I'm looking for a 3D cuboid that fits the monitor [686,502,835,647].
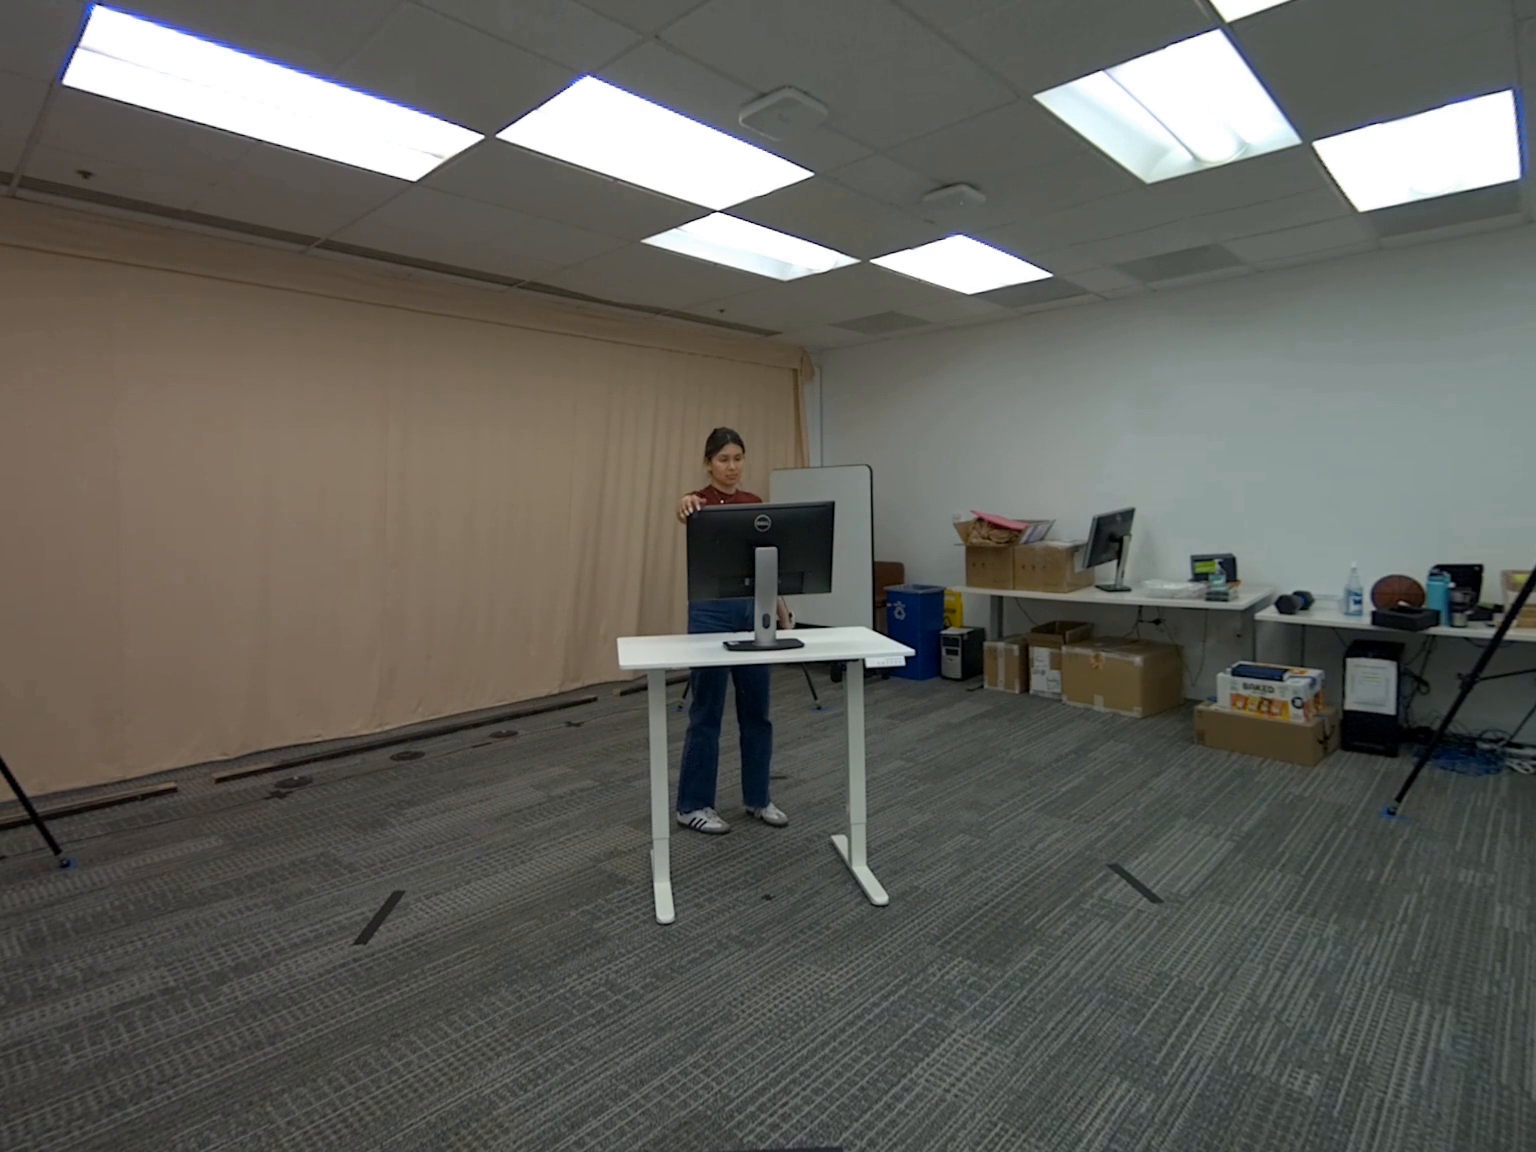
[{"bbox_3d":[-0.016,0.003,3.002,0.535,0.521,0.189,-2,4,-8],"label":"monitor"}]
